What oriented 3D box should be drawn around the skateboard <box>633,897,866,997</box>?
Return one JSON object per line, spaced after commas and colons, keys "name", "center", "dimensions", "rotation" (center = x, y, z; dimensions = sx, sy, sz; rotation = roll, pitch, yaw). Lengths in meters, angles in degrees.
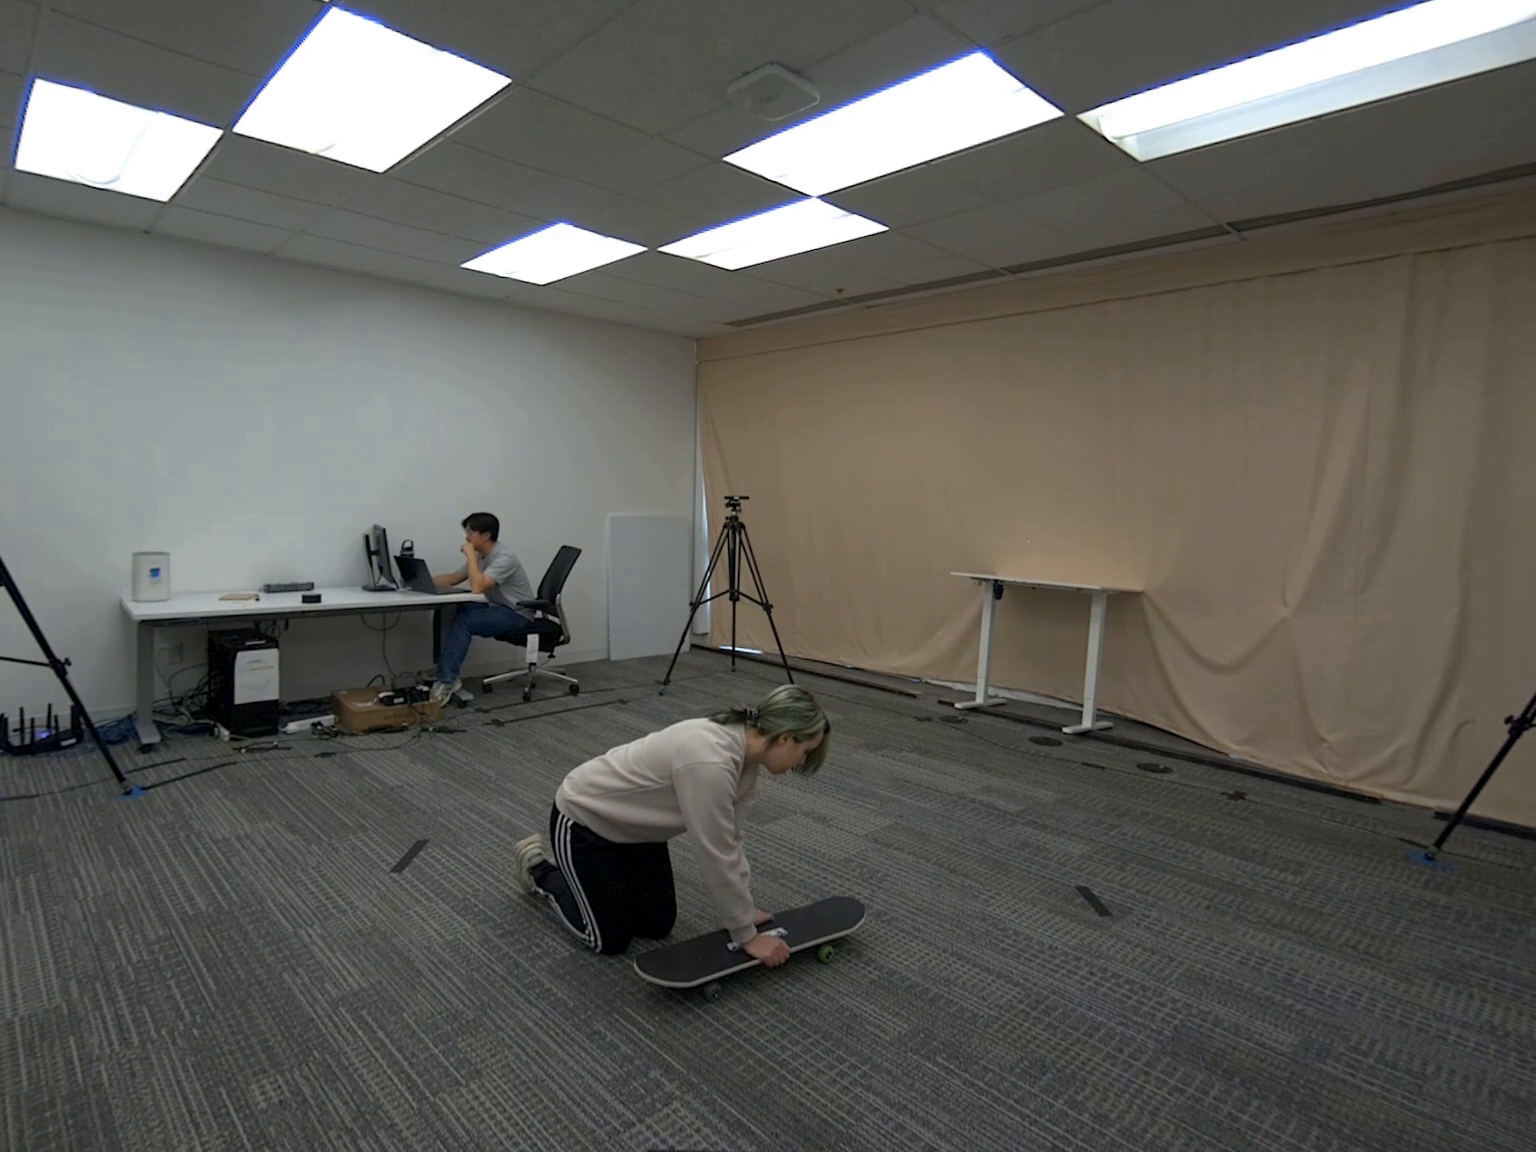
{"name": "skateboard", "center": [-0.032, 1.105, 2.492], "dimensions": [0.769, 0.110, 0.198], "rotation": [-2, 7, -32]}
